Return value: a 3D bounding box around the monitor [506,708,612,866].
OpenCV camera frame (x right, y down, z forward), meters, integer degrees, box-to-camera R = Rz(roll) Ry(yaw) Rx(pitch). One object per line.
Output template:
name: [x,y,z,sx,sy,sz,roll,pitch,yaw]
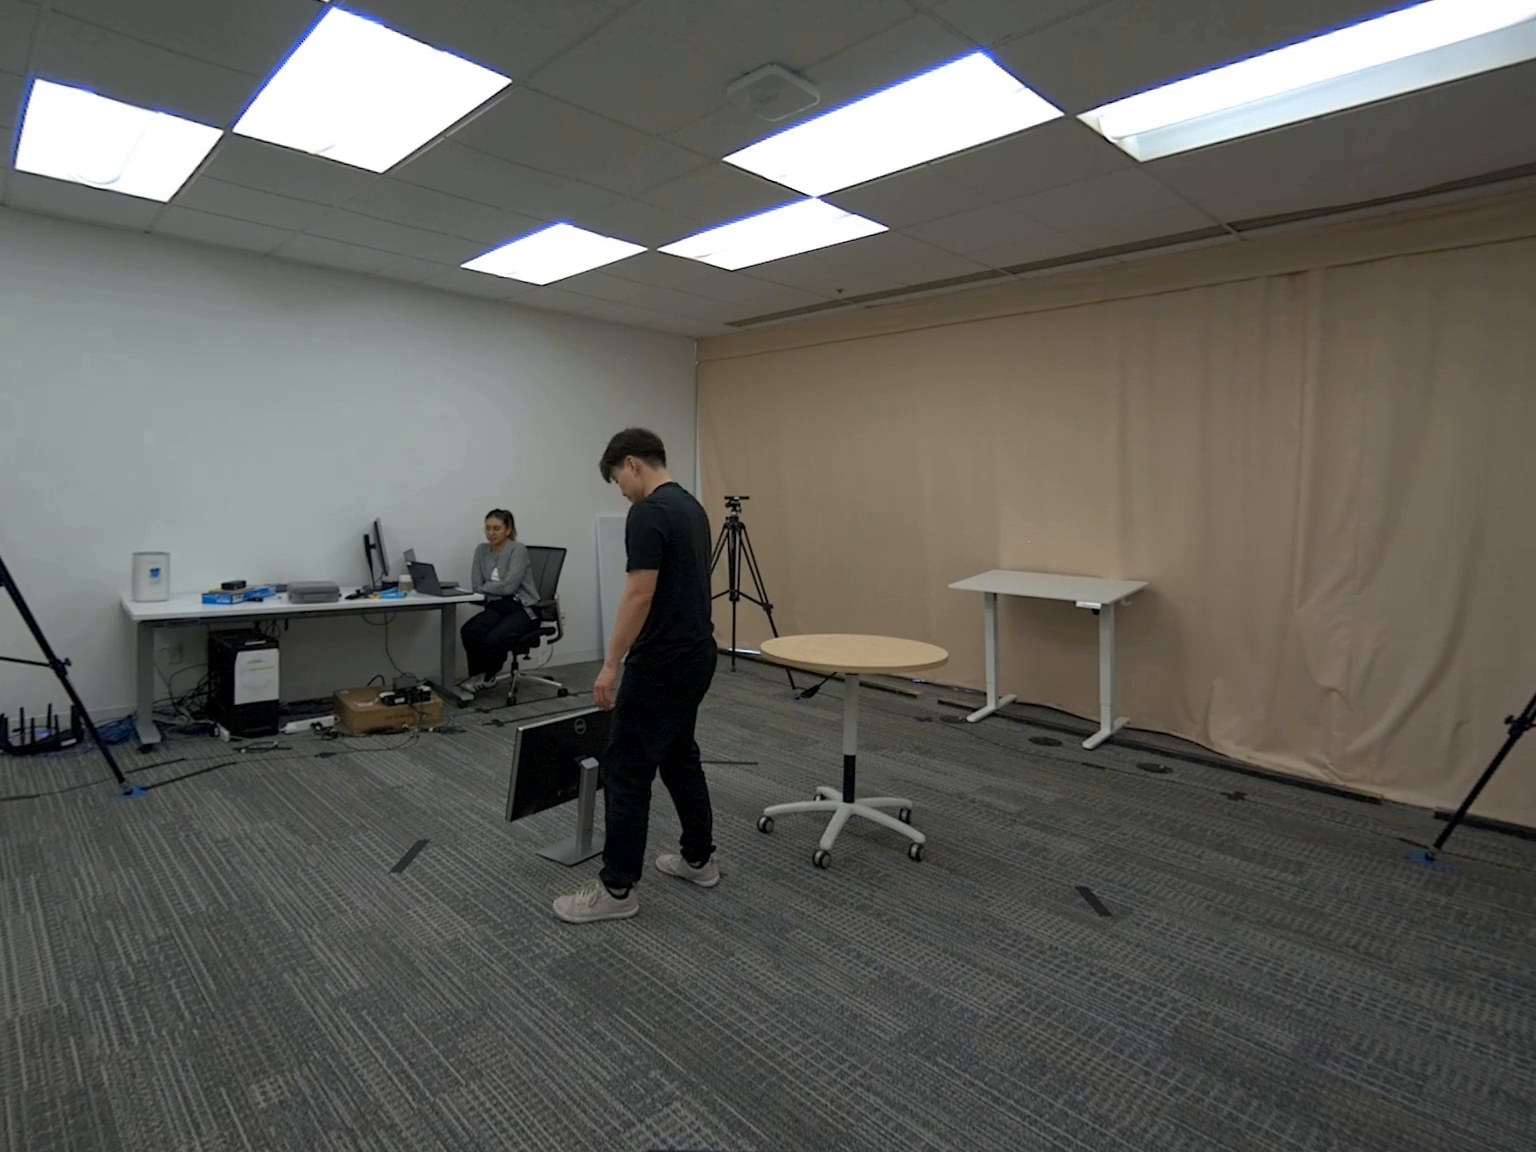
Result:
monitor: [-0.755,0.813,3.272,0.191,0.522,0.527,2,3,33]
